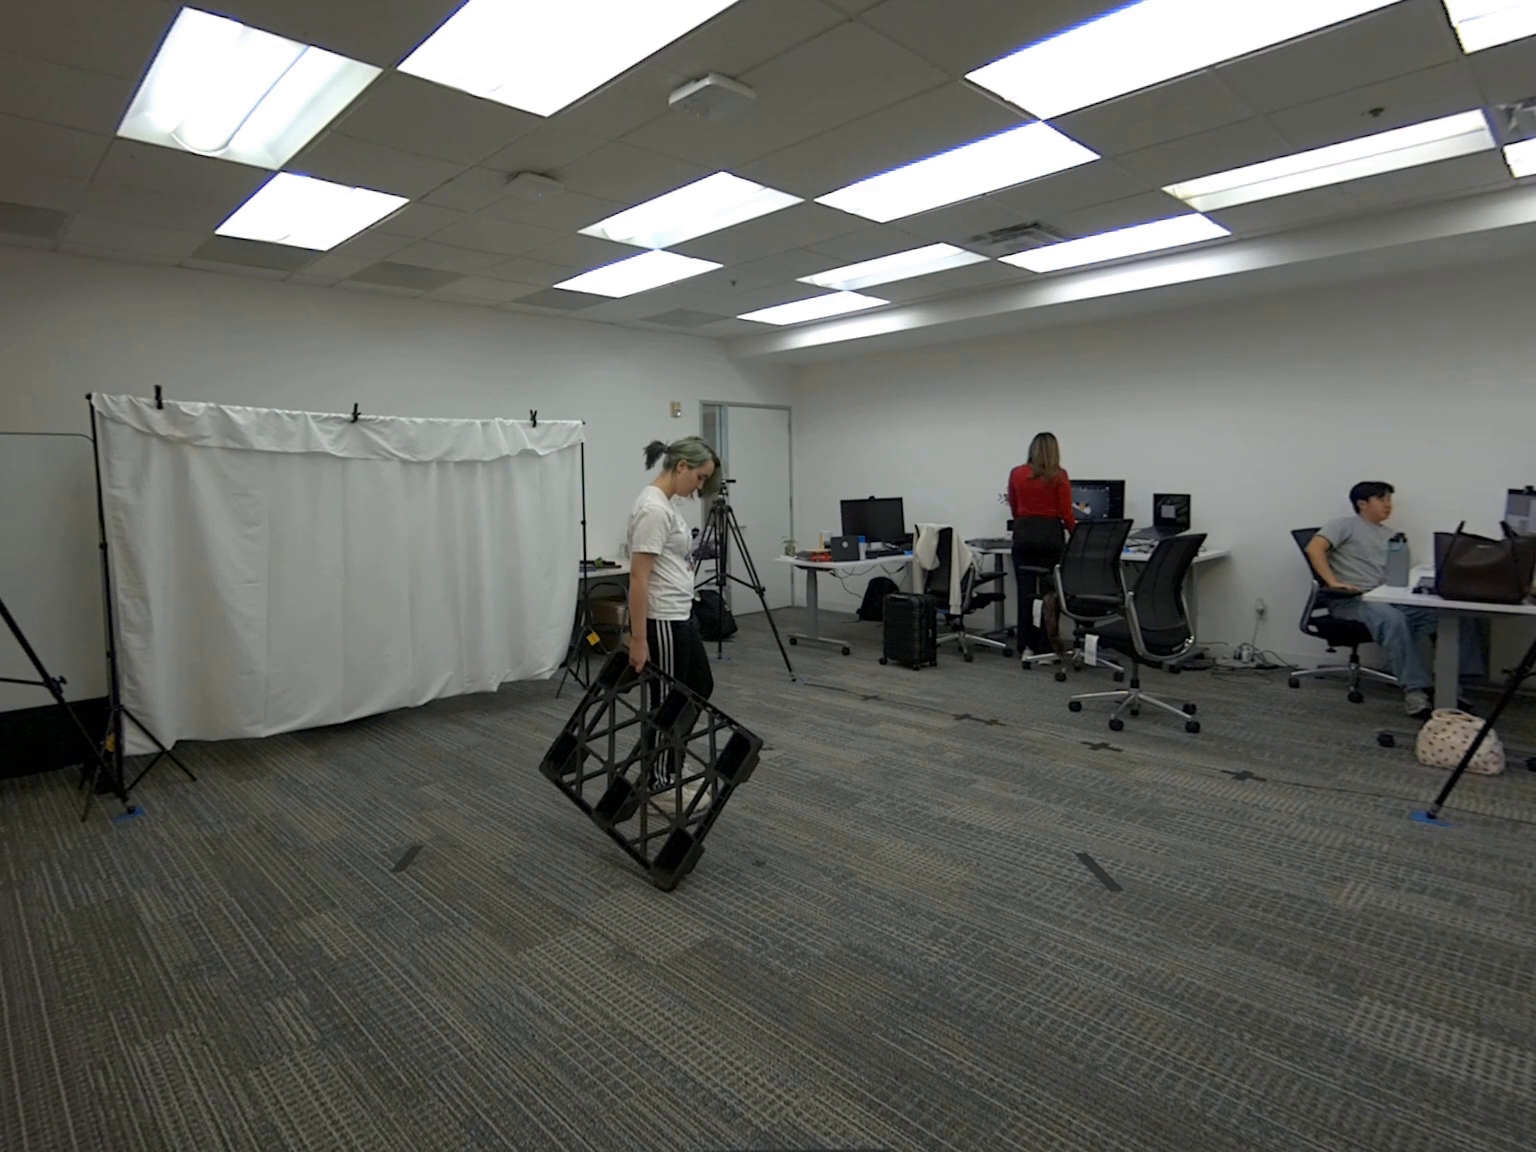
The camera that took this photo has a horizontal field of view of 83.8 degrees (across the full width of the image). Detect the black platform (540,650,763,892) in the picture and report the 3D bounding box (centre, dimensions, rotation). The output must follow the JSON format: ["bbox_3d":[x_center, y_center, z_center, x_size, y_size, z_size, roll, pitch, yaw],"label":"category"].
[{"bbox_3d":[-0.442,0.693,3.227,0.836,0.606,0.138,27,-9,38],"label":"black platform"}]
